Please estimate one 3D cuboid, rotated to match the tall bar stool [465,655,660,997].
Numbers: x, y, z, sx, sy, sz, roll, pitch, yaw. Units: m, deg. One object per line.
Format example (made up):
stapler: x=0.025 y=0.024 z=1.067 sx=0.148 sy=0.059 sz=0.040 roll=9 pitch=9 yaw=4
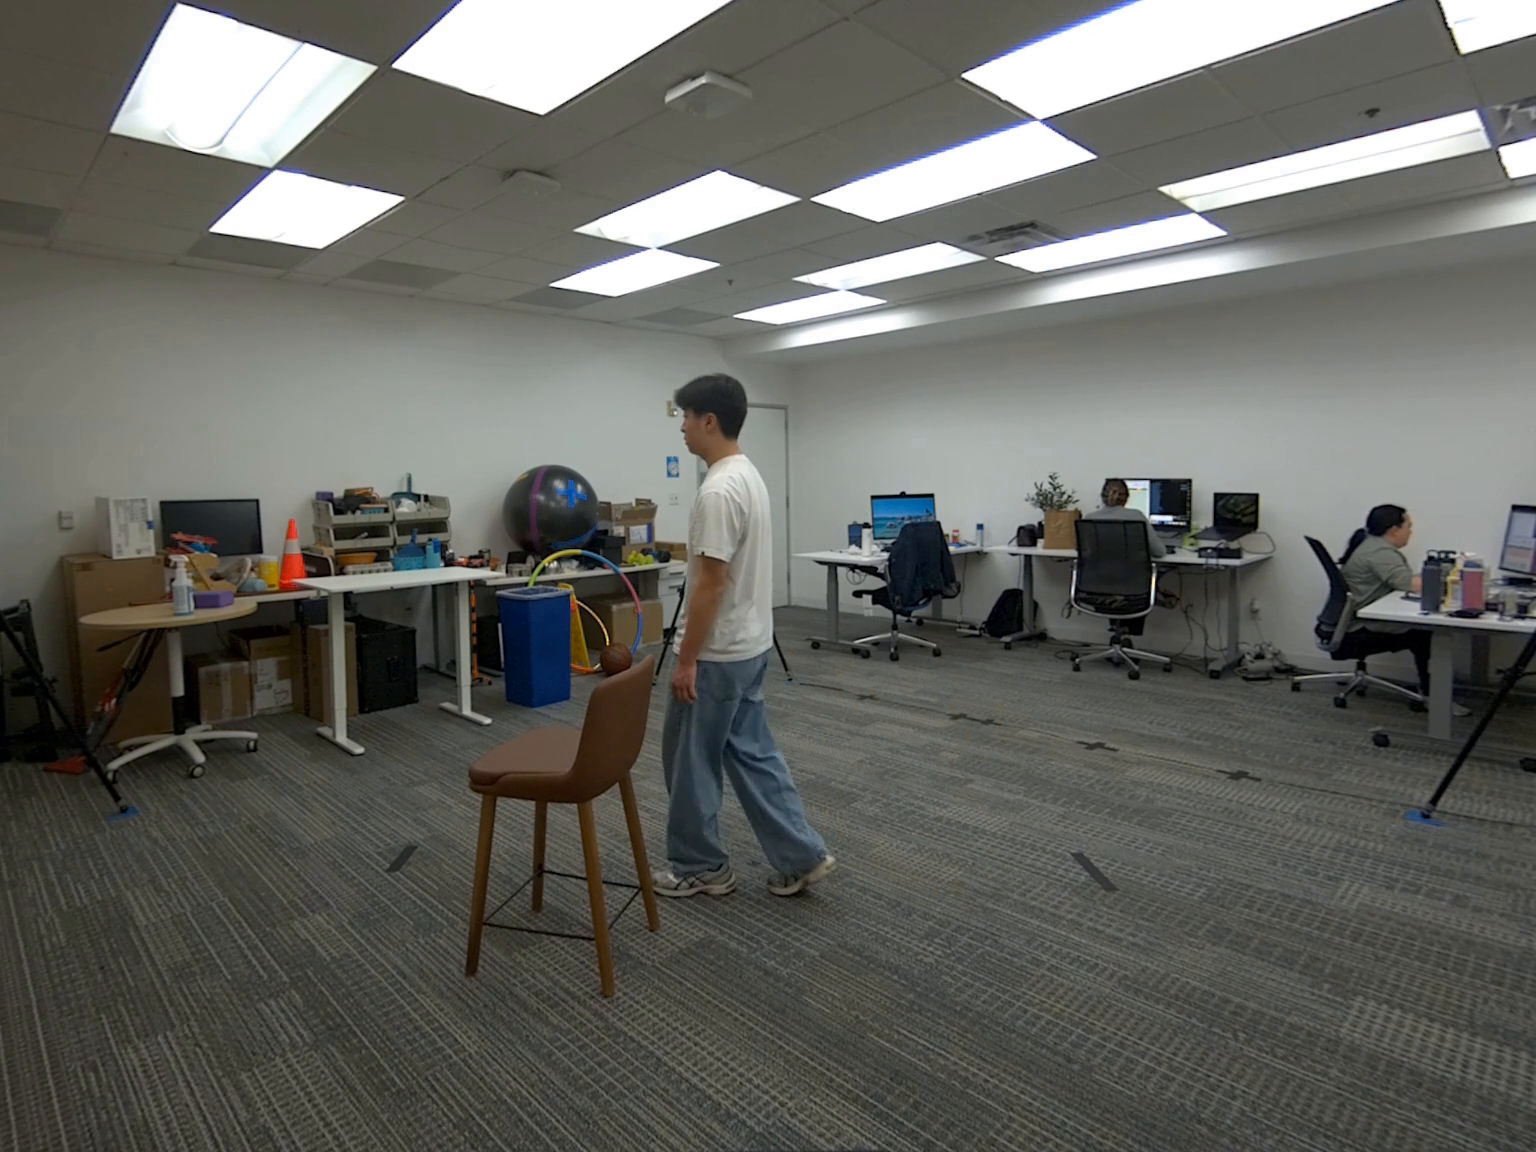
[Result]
tall bar stool: x=-0.597 y=0.689 z=2.524 sx=0.475 sy=0.886 sz=0.451 roll=2 pitch=5 yaw=16
